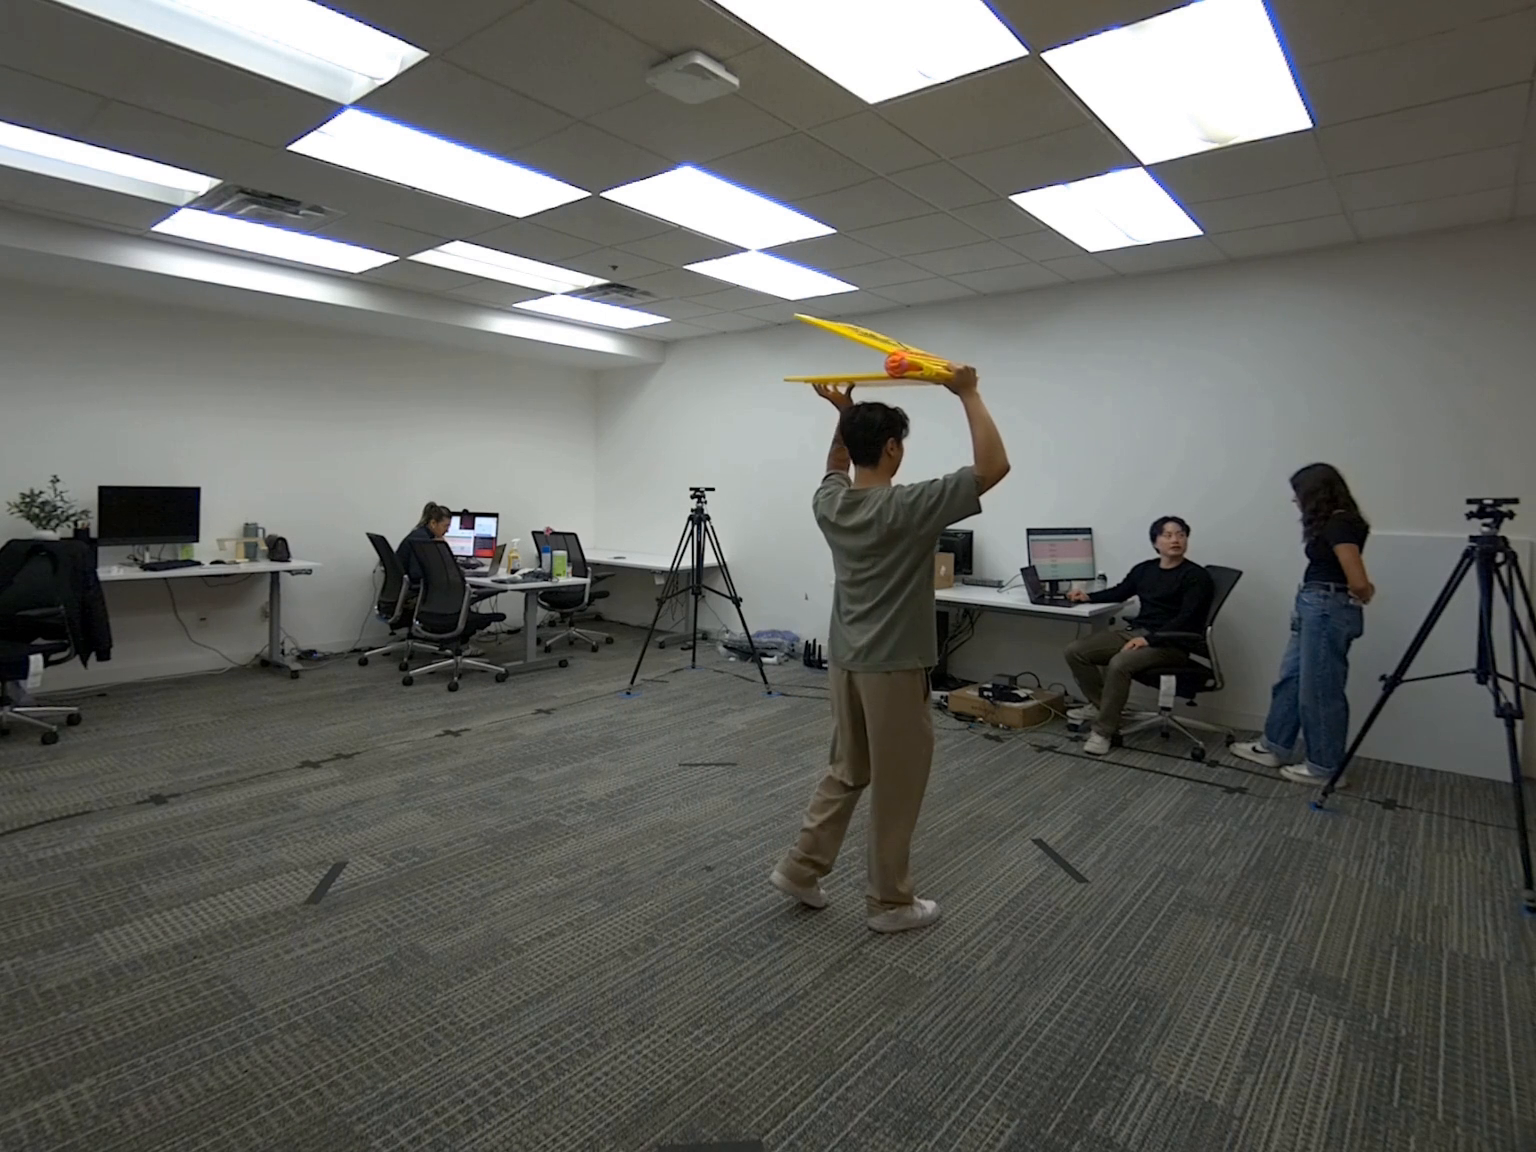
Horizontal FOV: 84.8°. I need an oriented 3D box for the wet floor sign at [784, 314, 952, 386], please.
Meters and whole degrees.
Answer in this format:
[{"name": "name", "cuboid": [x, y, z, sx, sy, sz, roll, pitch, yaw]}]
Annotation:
[{"name": "wet floor sign", "cuboid": [0.361, -0.693, 2.765, 0.274, 0.287, 0.672, -1, 17, -37]}]
